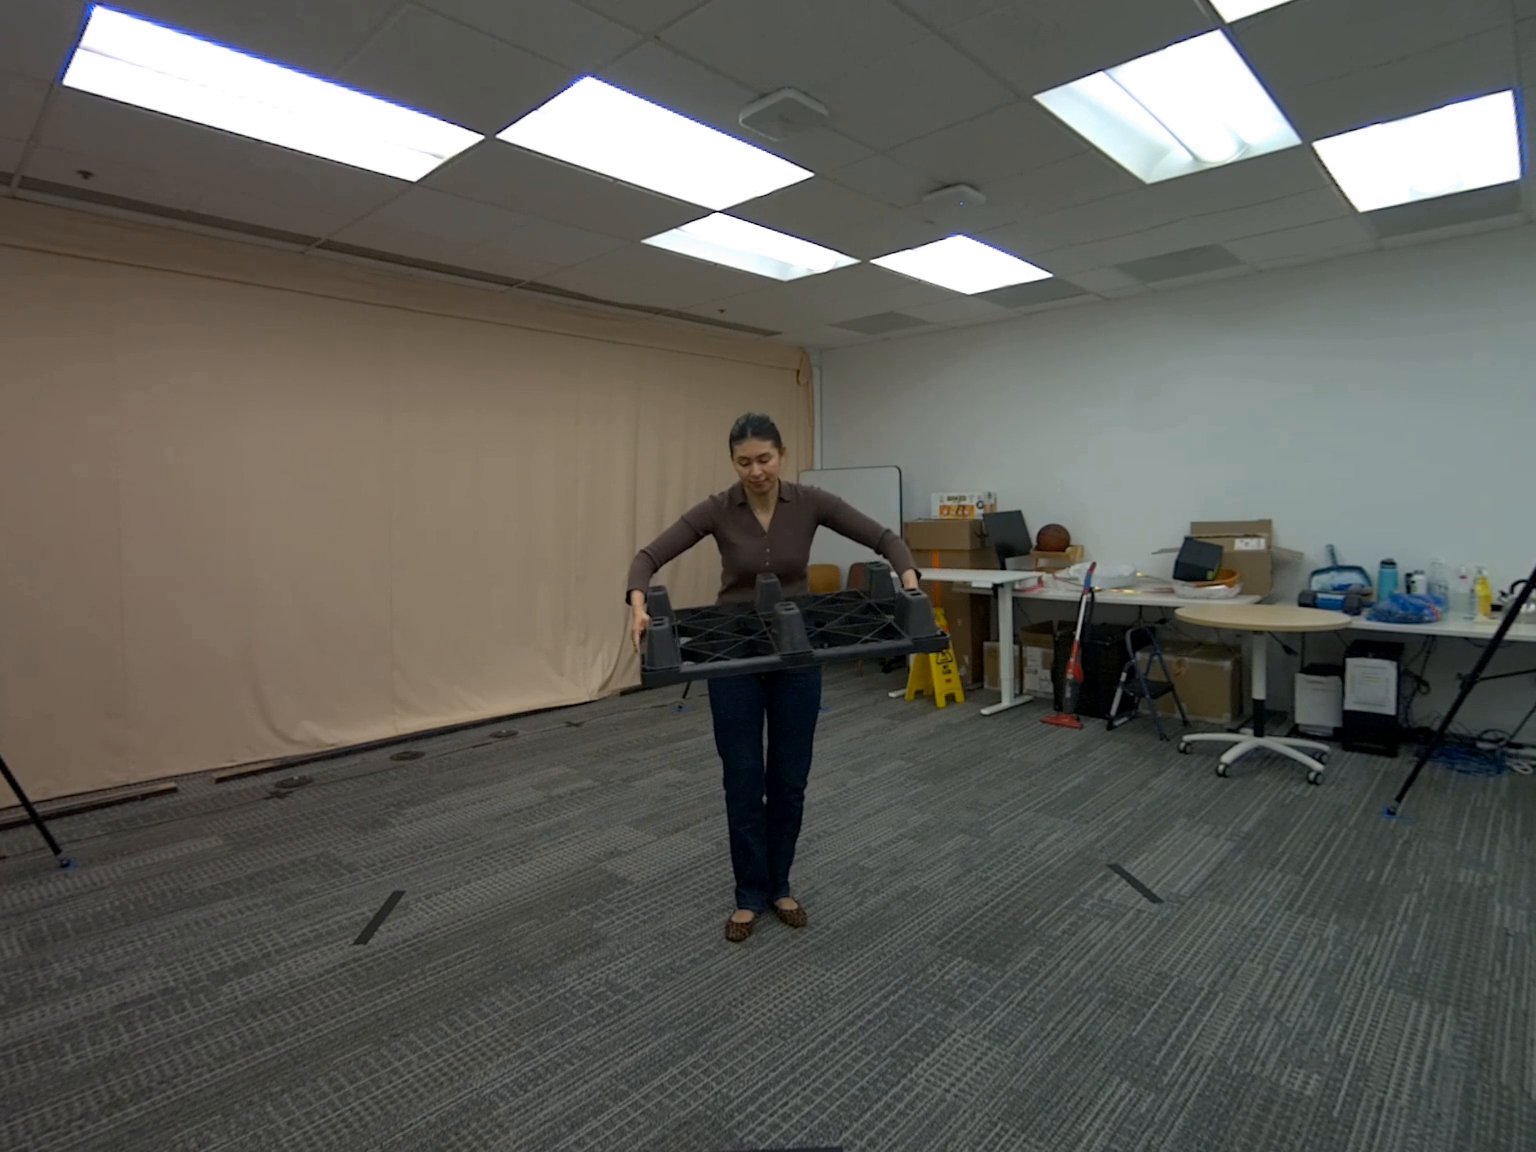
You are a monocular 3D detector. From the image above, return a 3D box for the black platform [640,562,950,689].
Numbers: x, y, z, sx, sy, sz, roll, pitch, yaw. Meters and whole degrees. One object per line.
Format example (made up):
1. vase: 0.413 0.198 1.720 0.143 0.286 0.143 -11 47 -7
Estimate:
1. black platform: 0.023 0.107 2.396 0.802 0.142 0.613 -5 11 -5
